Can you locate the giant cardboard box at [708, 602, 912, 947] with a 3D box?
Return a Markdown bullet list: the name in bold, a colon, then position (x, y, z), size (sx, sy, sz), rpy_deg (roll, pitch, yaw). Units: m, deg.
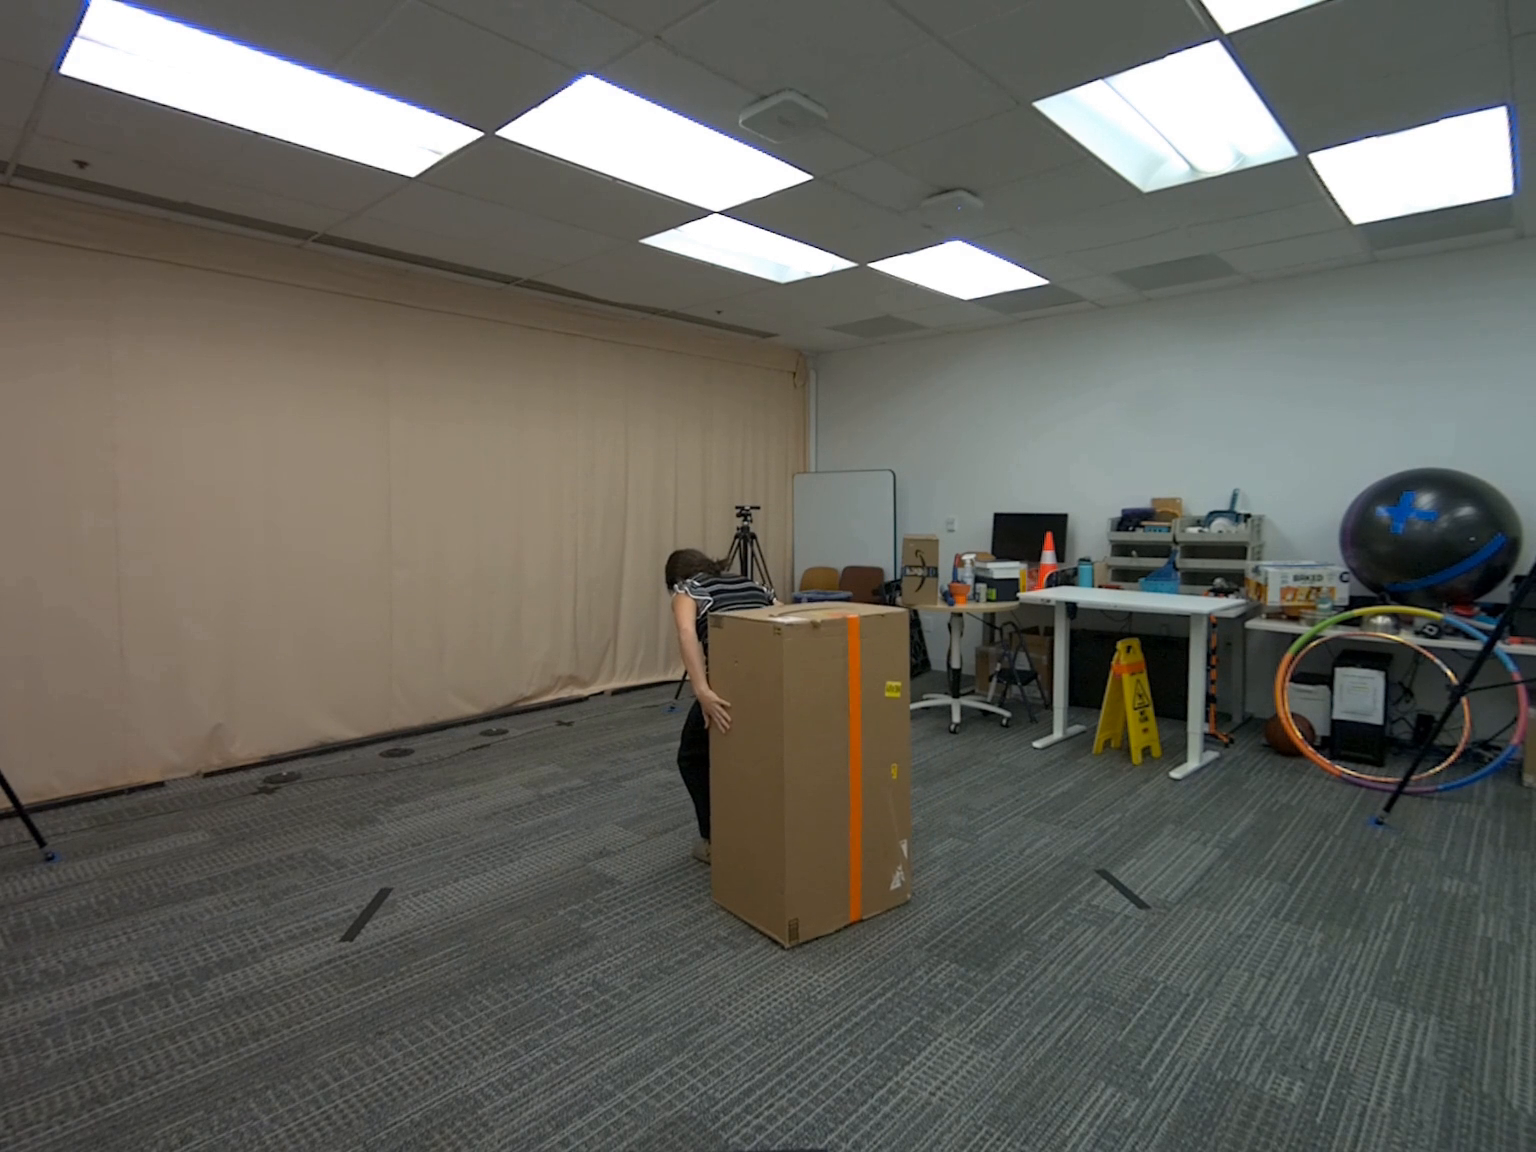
- **giant cardboard box**: position (0.153, 0.634, 2.943), size (0.560, 1.024, 0.439), rpy_deg (-2, 2, -37)
